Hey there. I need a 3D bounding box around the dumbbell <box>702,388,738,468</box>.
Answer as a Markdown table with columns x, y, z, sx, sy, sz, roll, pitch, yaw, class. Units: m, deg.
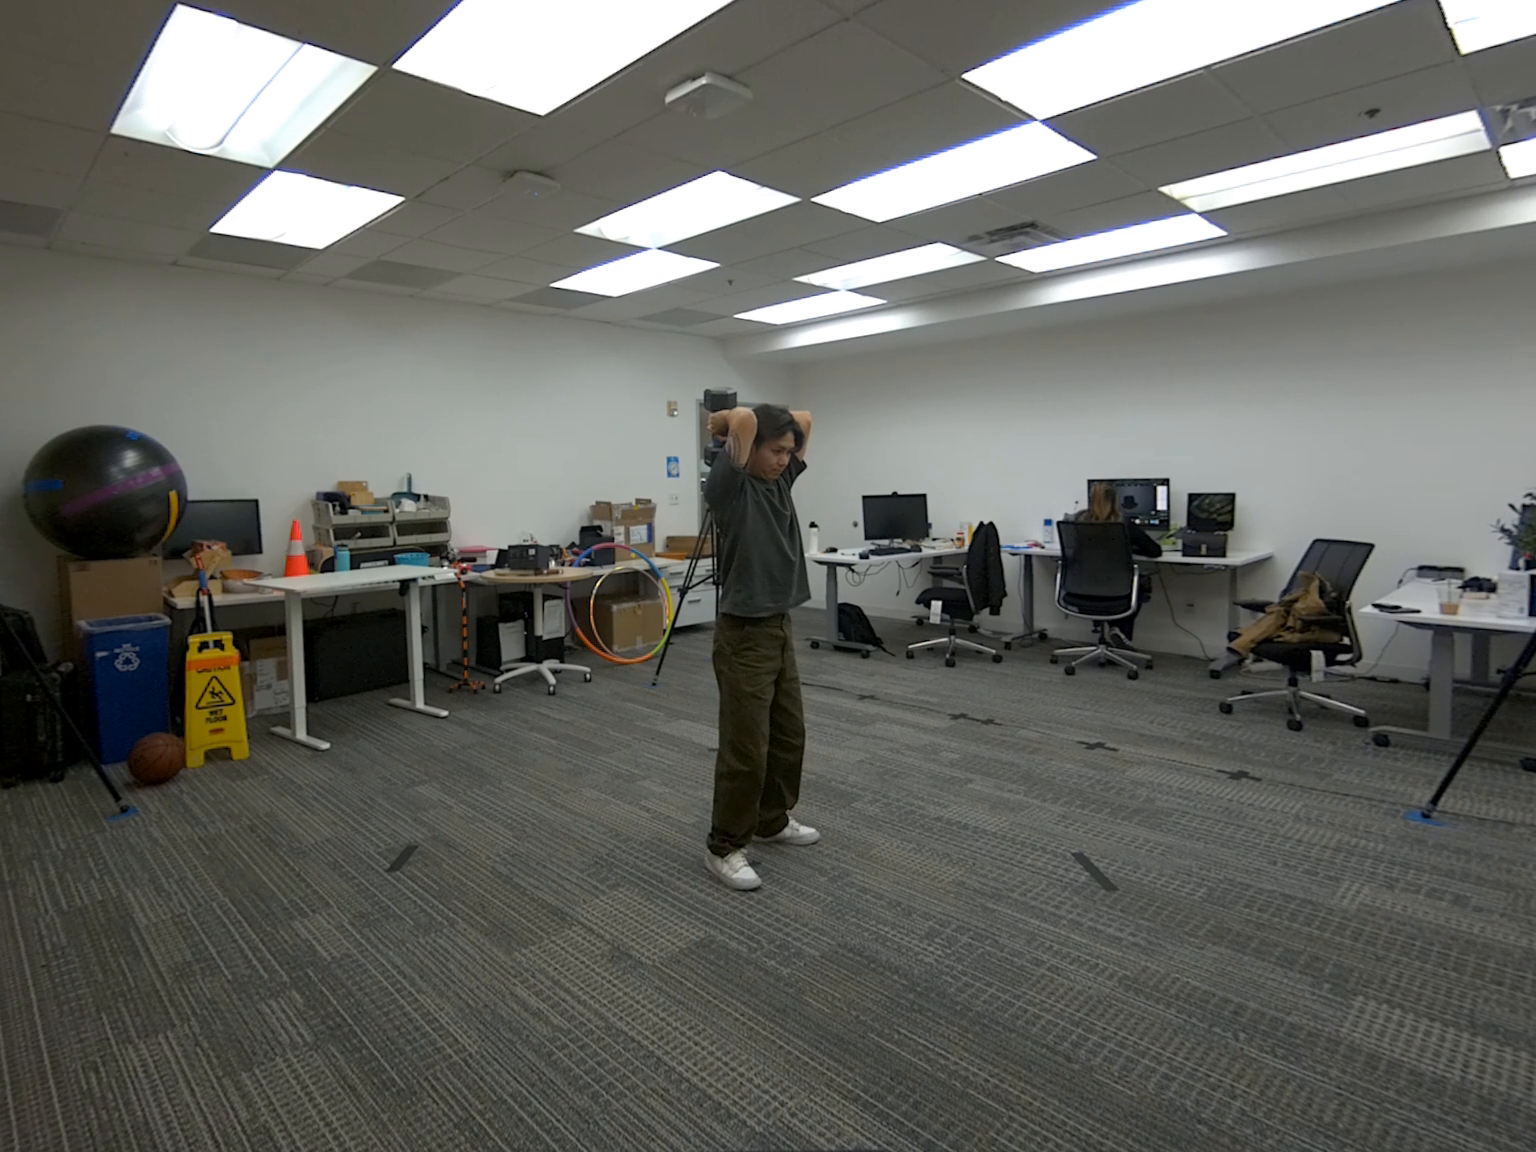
| x | y | z | sx | sy | sz | roll | pitch | yaw | class |
| --- | --- | --- | --- | --- | --- | --- | --- | --- | --- |
| -0.169 | -0.563 | 3.177 | 0.107 | 0.288 | 0.127 | -10 | 25 | -26 | dumbbell |
